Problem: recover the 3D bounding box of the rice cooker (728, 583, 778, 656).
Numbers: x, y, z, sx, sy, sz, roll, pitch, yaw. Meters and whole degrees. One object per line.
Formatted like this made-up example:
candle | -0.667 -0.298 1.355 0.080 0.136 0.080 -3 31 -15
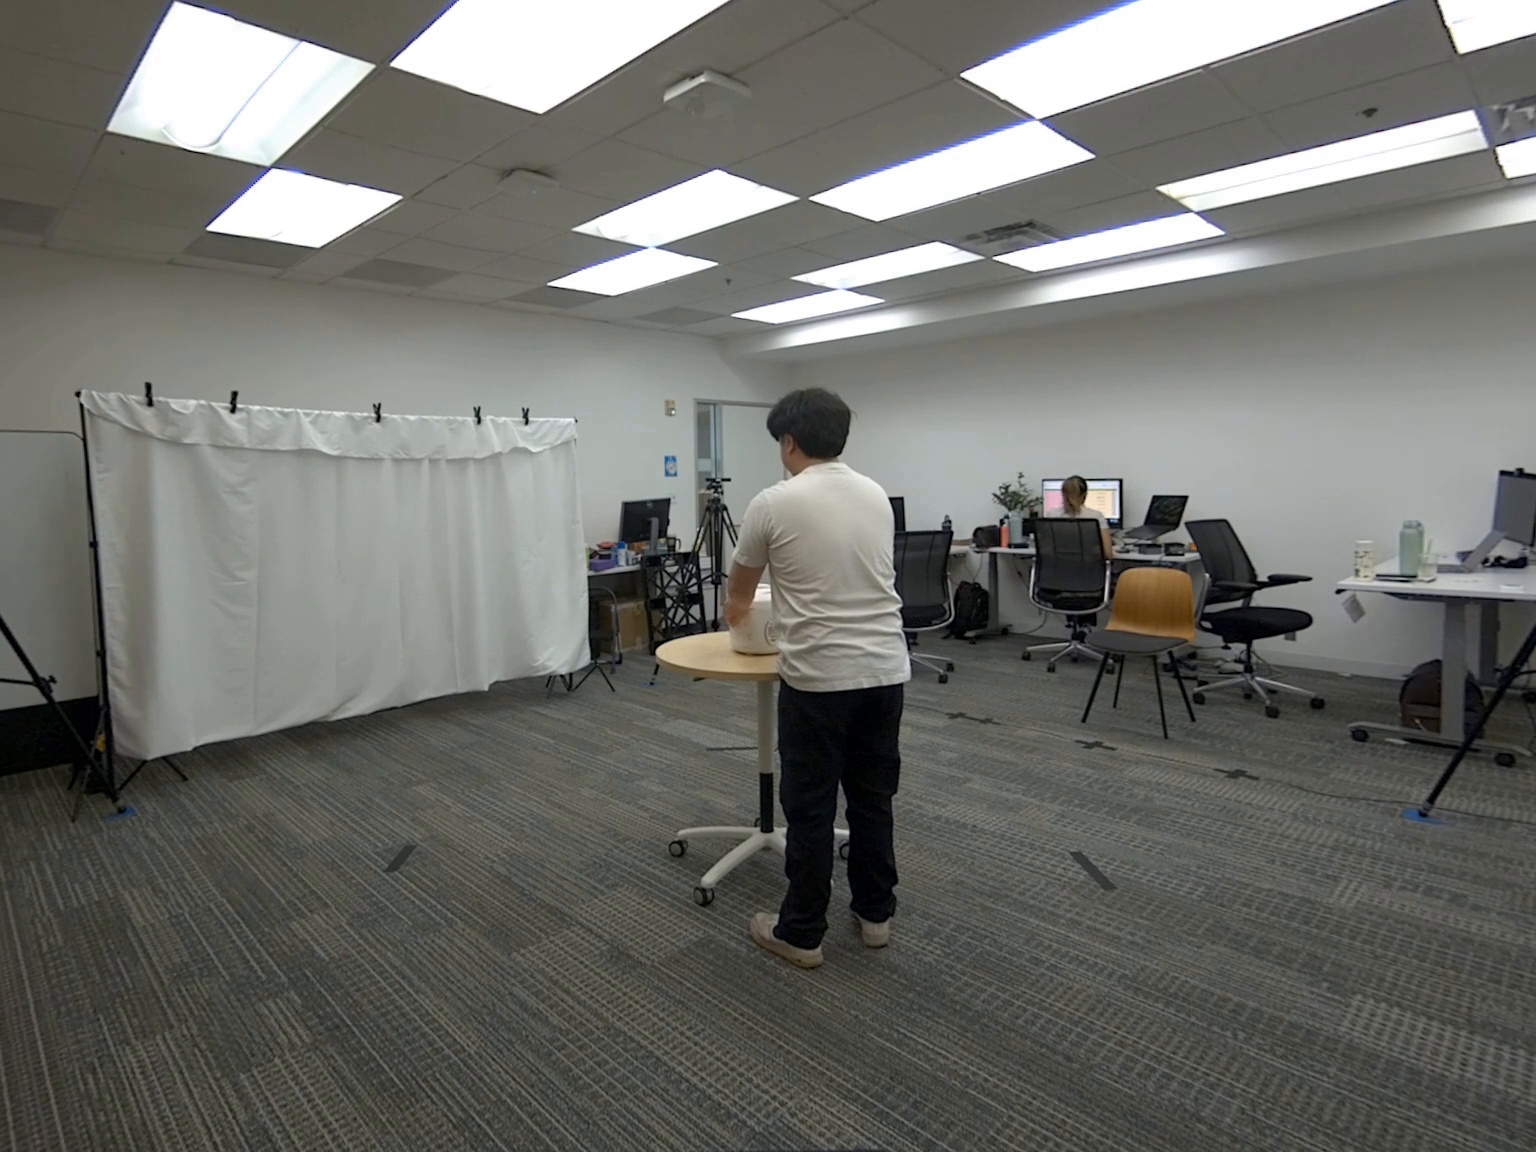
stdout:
rice cooker | -0.026 0.145 2.967 0.216 0.232 0.223 -6 5 -25
